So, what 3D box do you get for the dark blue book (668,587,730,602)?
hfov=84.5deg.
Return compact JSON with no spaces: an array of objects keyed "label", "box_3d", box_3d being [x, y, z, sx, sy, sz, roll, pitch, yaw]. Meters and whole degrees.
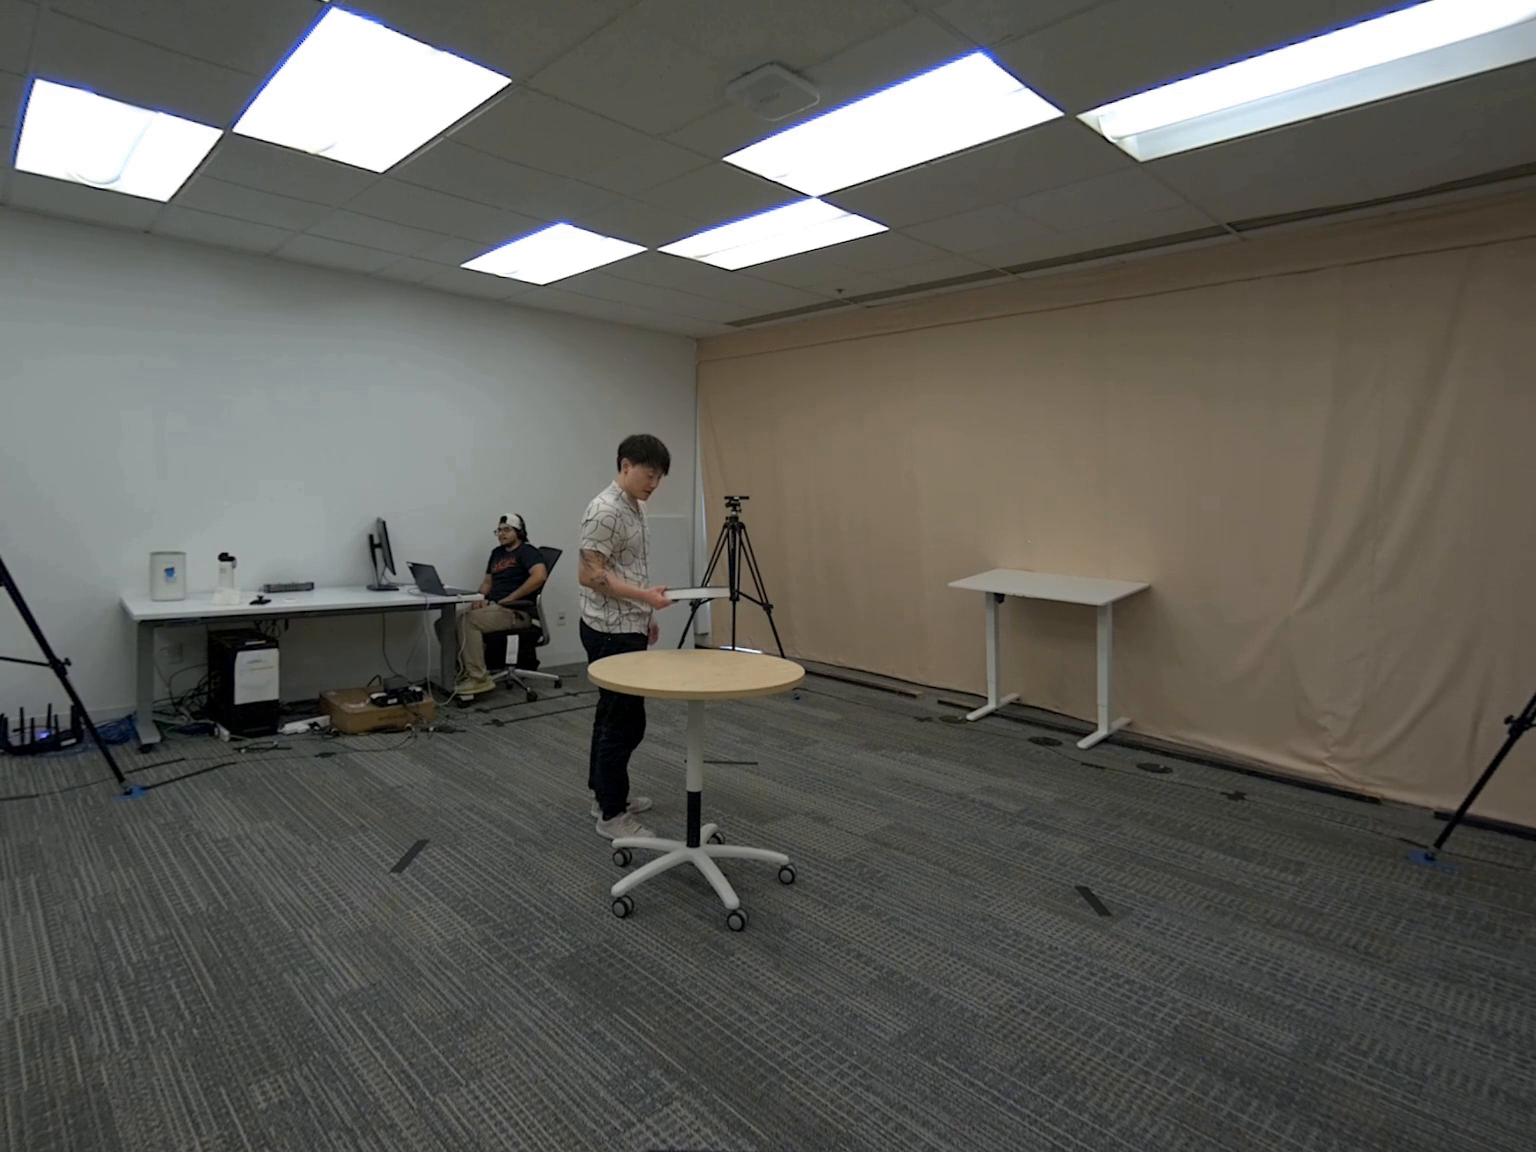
[{"label":"dark blue book","box_3d":[-0.302,0.073,3.351,0.250,0.045,0.160,-4,-1,33]}]
